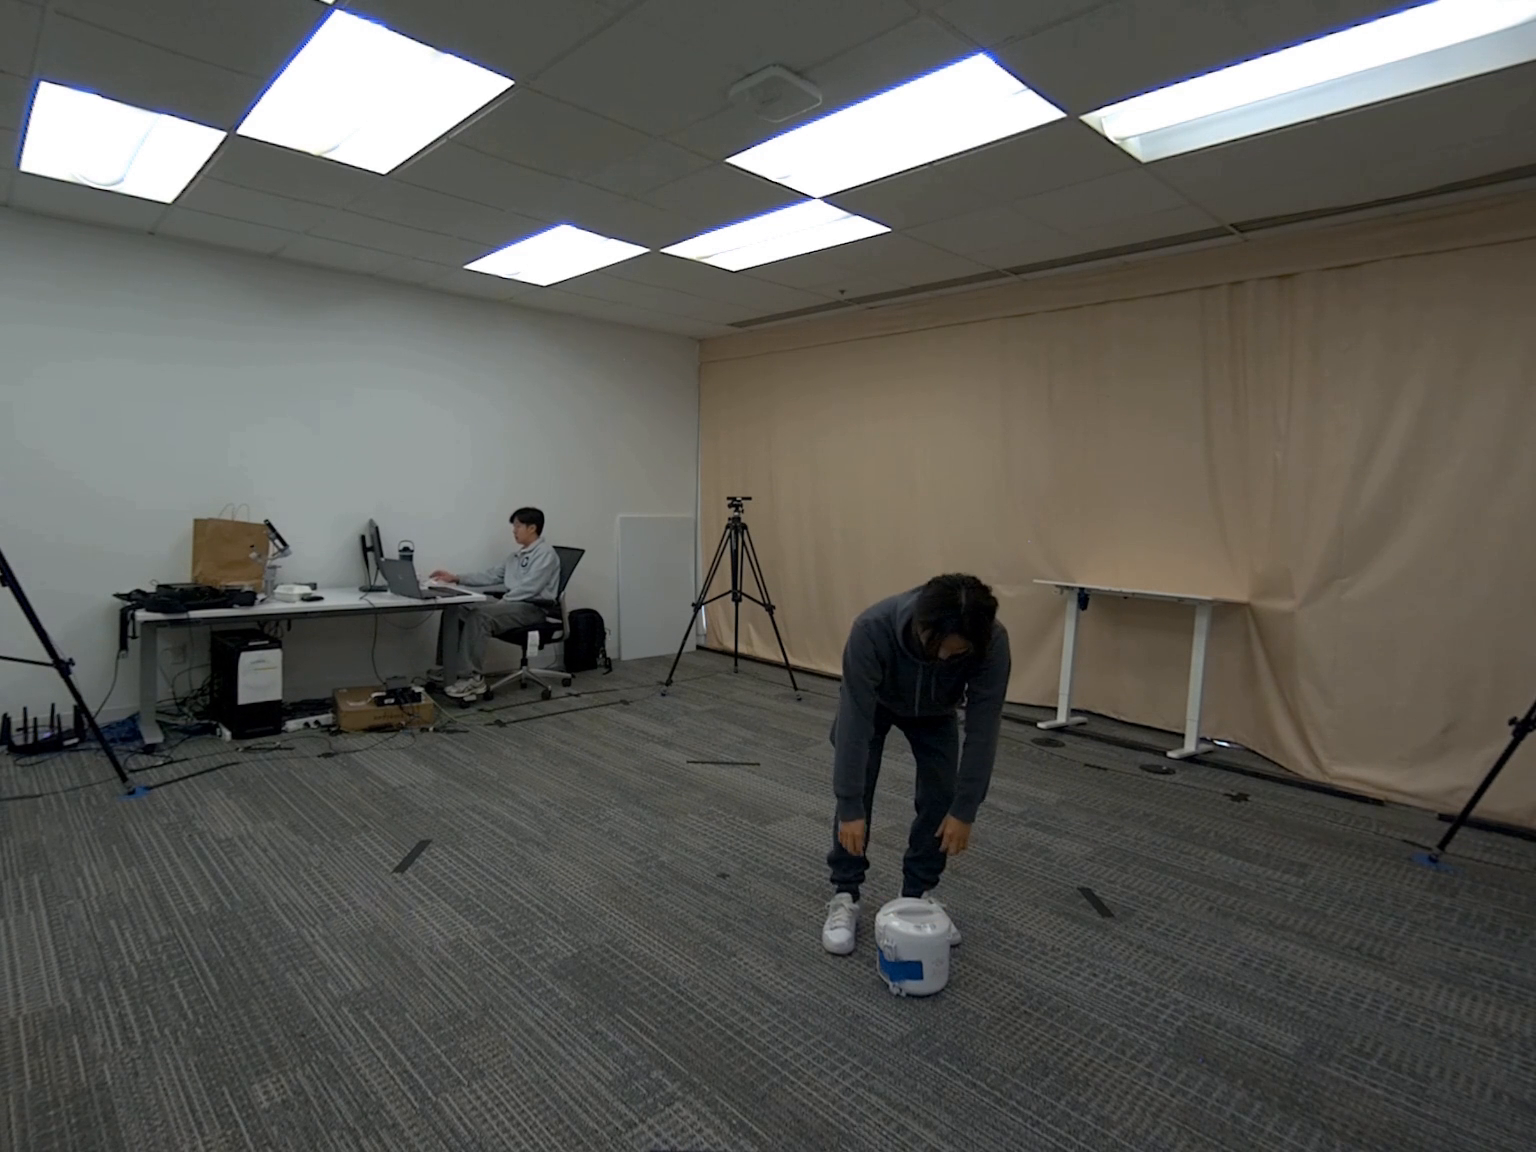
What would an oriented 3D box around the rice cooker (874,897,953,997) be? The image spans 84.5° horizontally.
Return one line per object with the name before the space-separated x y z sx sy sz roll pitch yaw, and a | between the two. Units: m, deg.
rice cooker | 0.412 1.067 2.453 0.219 0.232 0.219 1 5 -6
